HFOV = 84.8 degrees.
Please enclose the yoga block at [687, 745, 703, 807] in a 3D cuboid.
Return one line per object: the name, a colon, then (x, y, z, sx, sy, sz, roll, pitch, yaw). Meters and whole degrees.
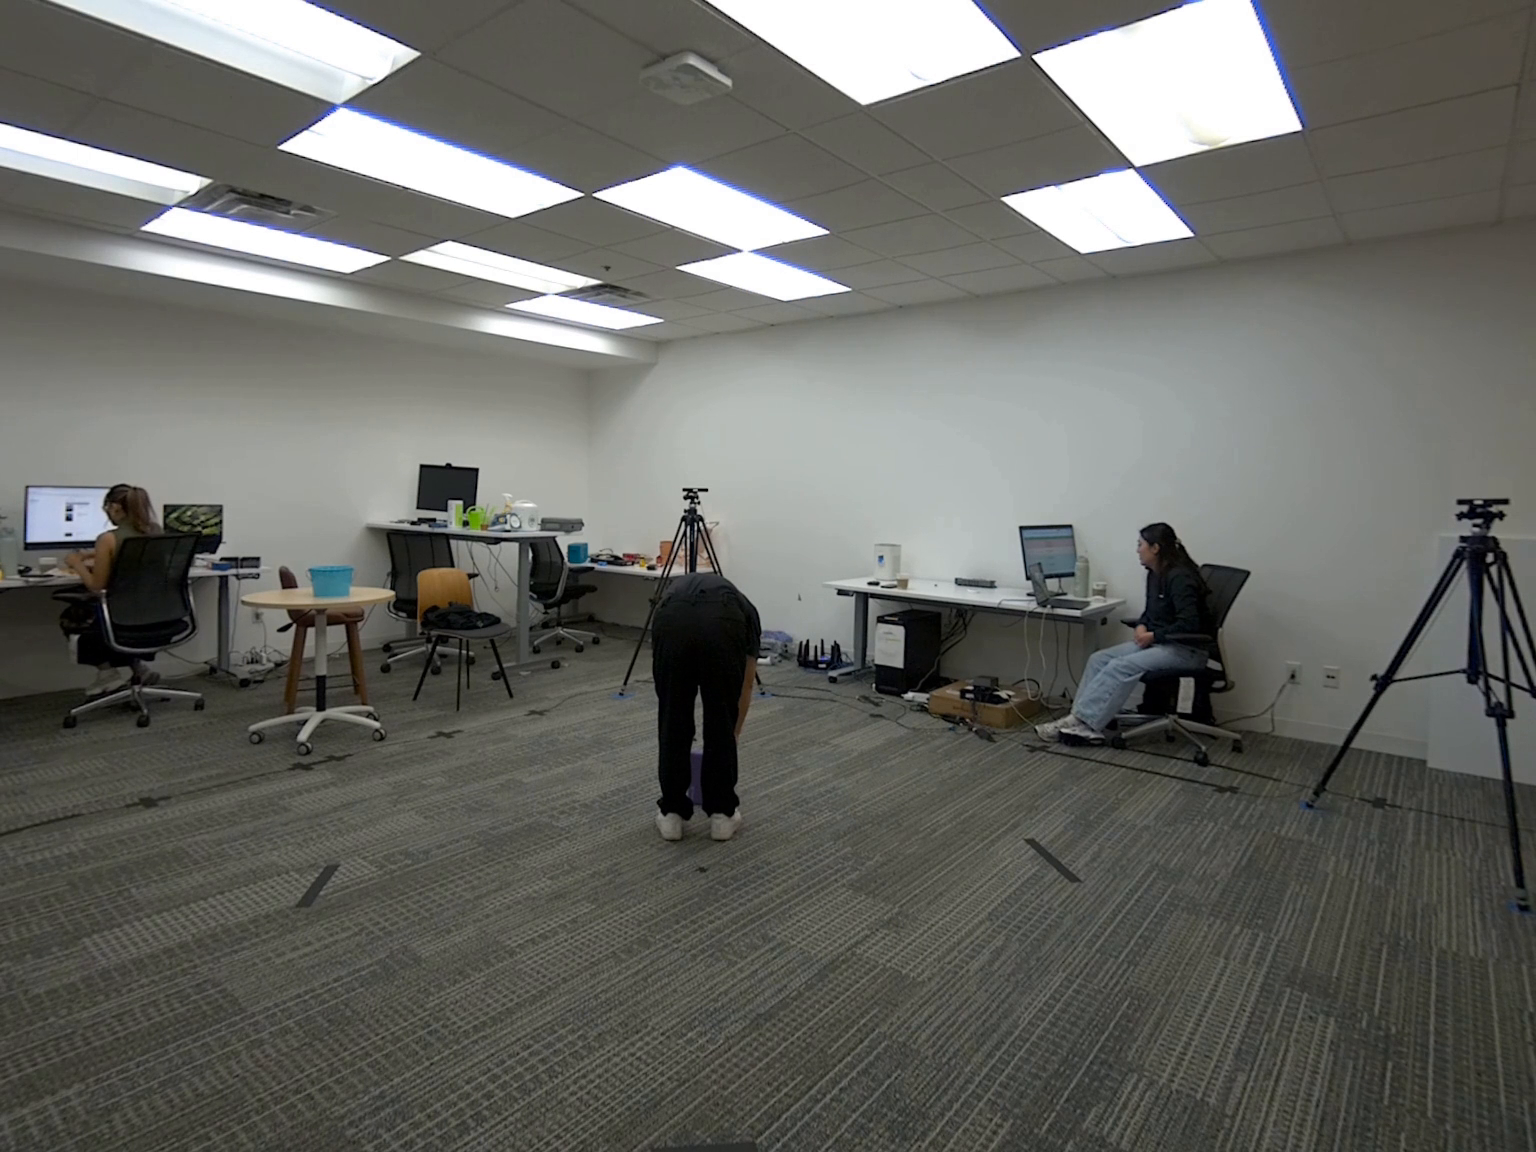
yoga block: (-0.286, 0.886, 3.763, 0.150, 0.229, 0.076, 2, 2, 5)
